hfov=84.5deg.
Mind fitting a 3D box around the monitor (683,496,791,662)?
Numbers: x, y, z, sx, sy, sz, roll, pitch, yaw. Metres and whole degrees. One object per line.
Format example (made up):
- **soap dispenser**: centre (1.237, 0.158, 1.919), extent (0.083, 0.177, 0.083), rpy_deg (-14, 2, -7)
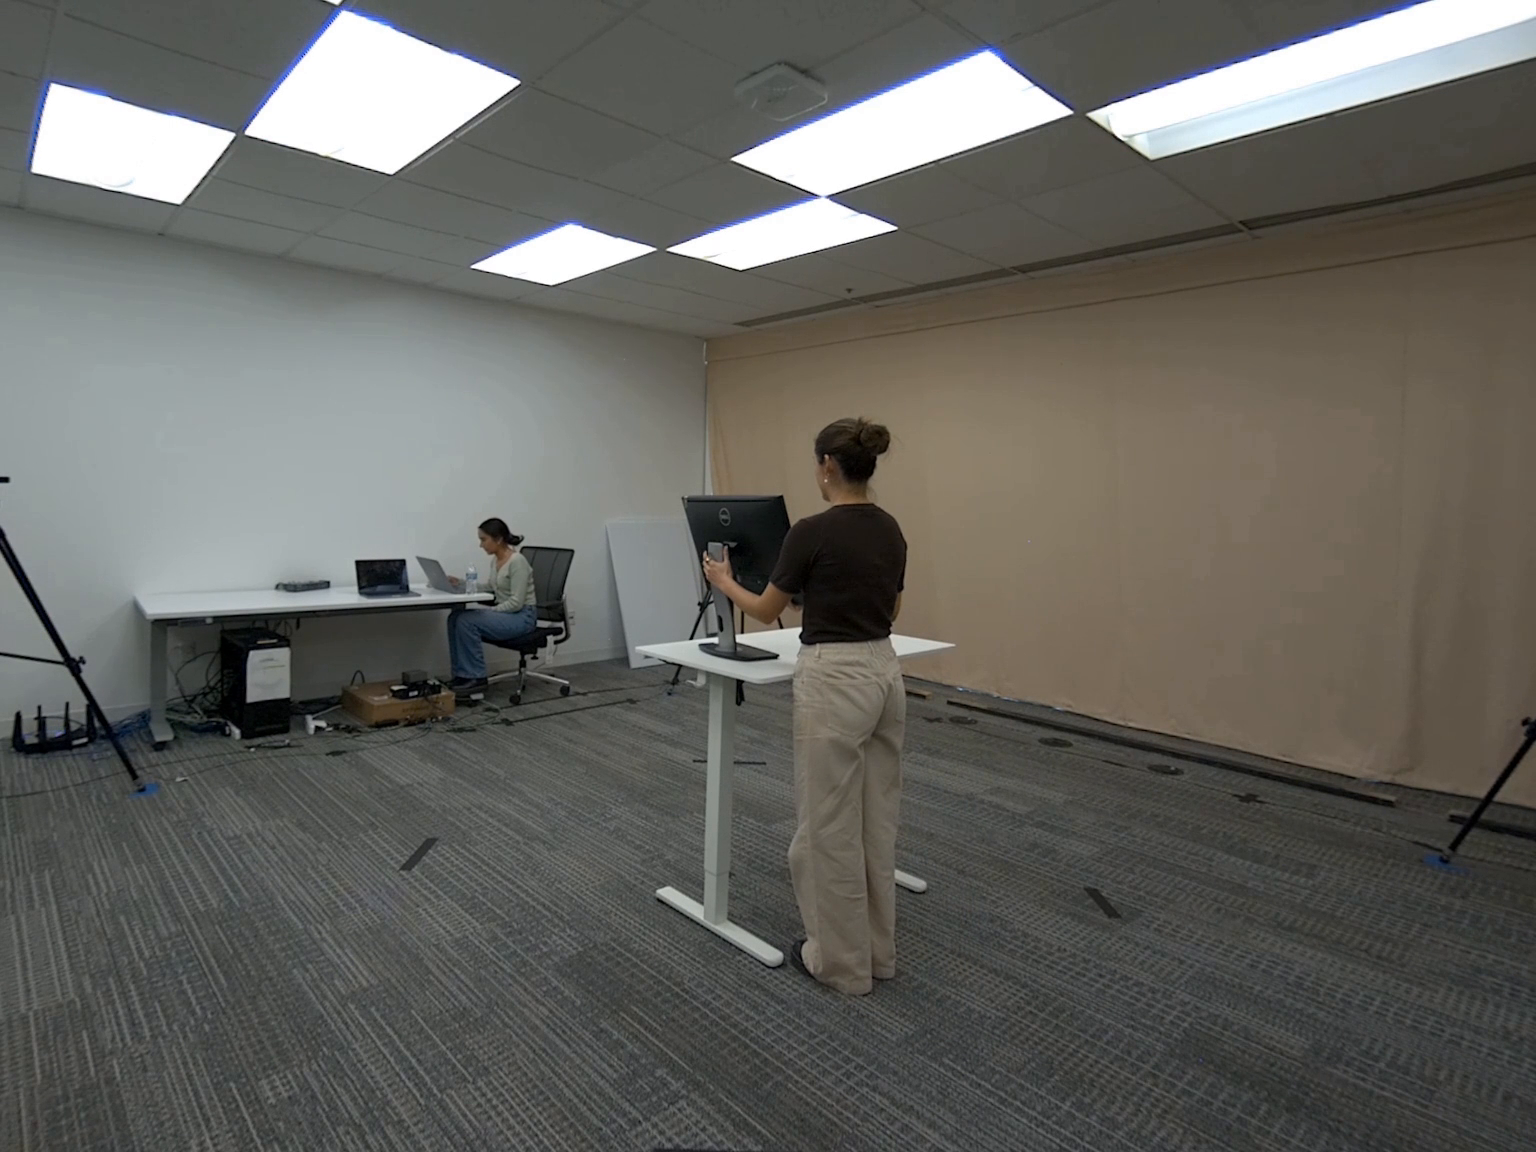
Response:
- **monitor**: centre (-0.122, 0.003, 2.715), extent (0.183, 0.520, 0.552), rpy_deg (-8, 7, -33)
